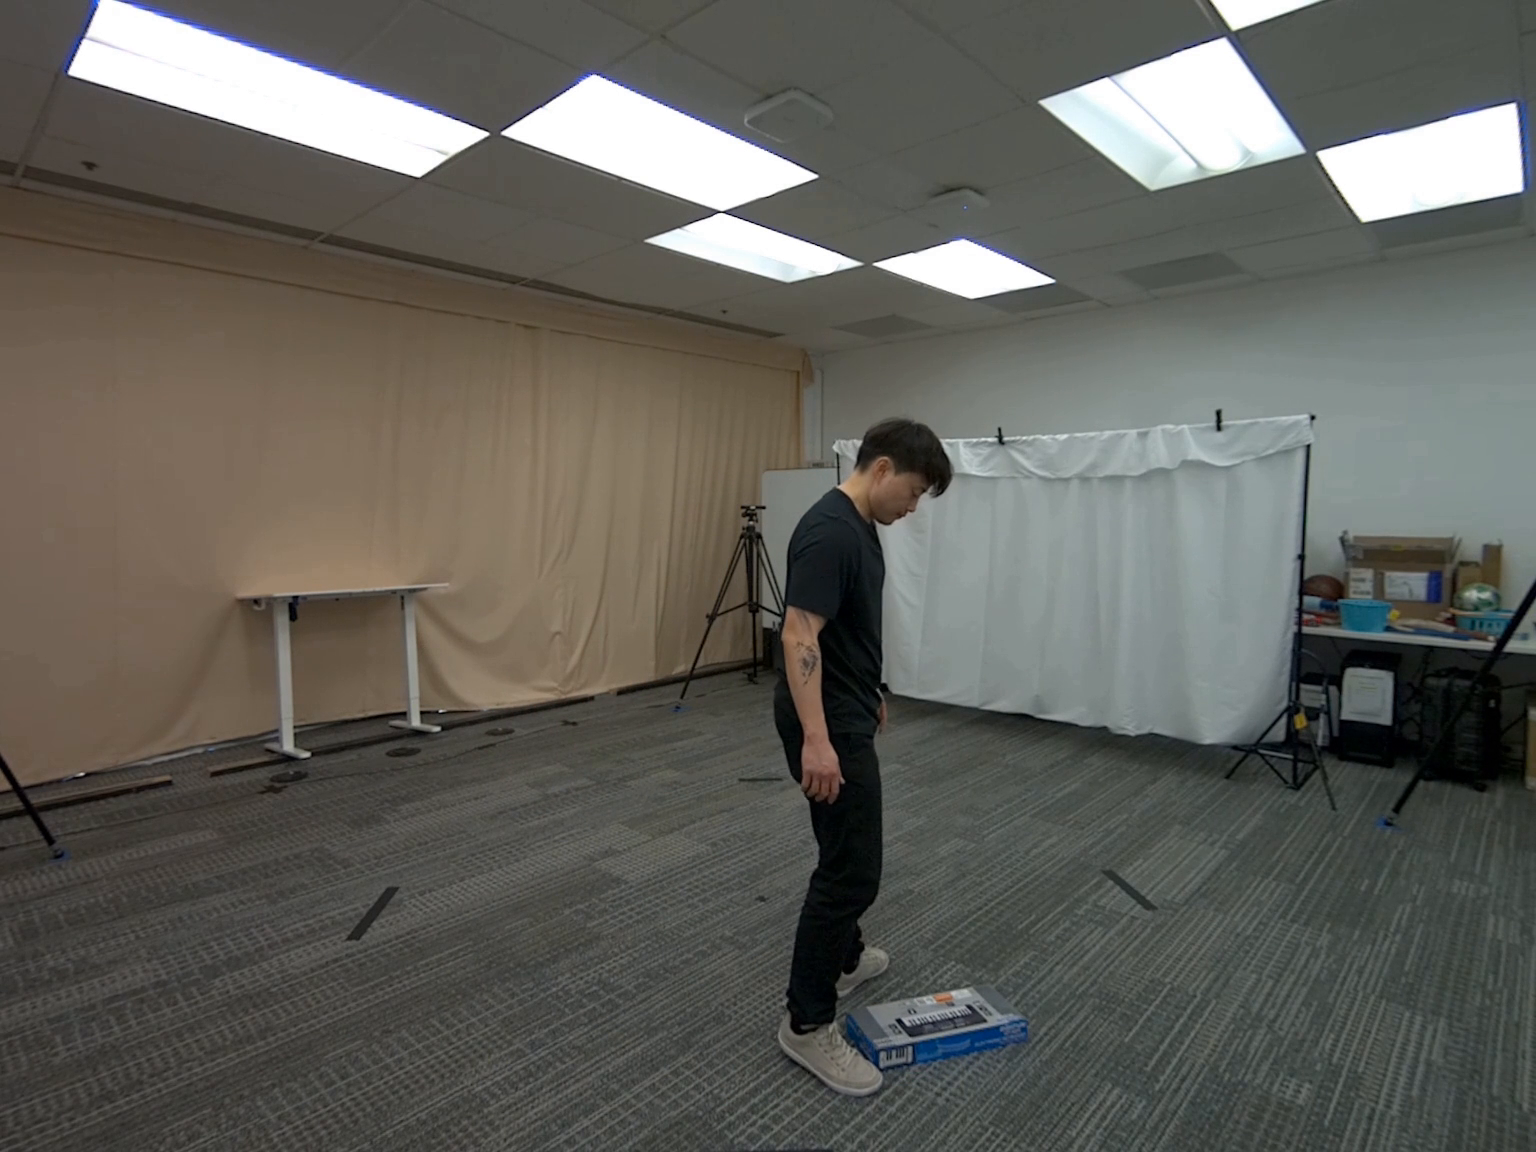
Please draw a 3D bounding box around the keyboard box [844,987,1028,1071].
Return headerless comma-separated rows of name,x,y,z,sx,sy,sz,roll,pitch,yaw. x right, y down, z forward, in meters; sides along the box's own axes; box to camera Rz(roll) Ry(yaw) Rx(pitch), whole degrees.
keyboard box,0.448,1.181,2.202,0.429,0.059,0.179,-2,5,-17
